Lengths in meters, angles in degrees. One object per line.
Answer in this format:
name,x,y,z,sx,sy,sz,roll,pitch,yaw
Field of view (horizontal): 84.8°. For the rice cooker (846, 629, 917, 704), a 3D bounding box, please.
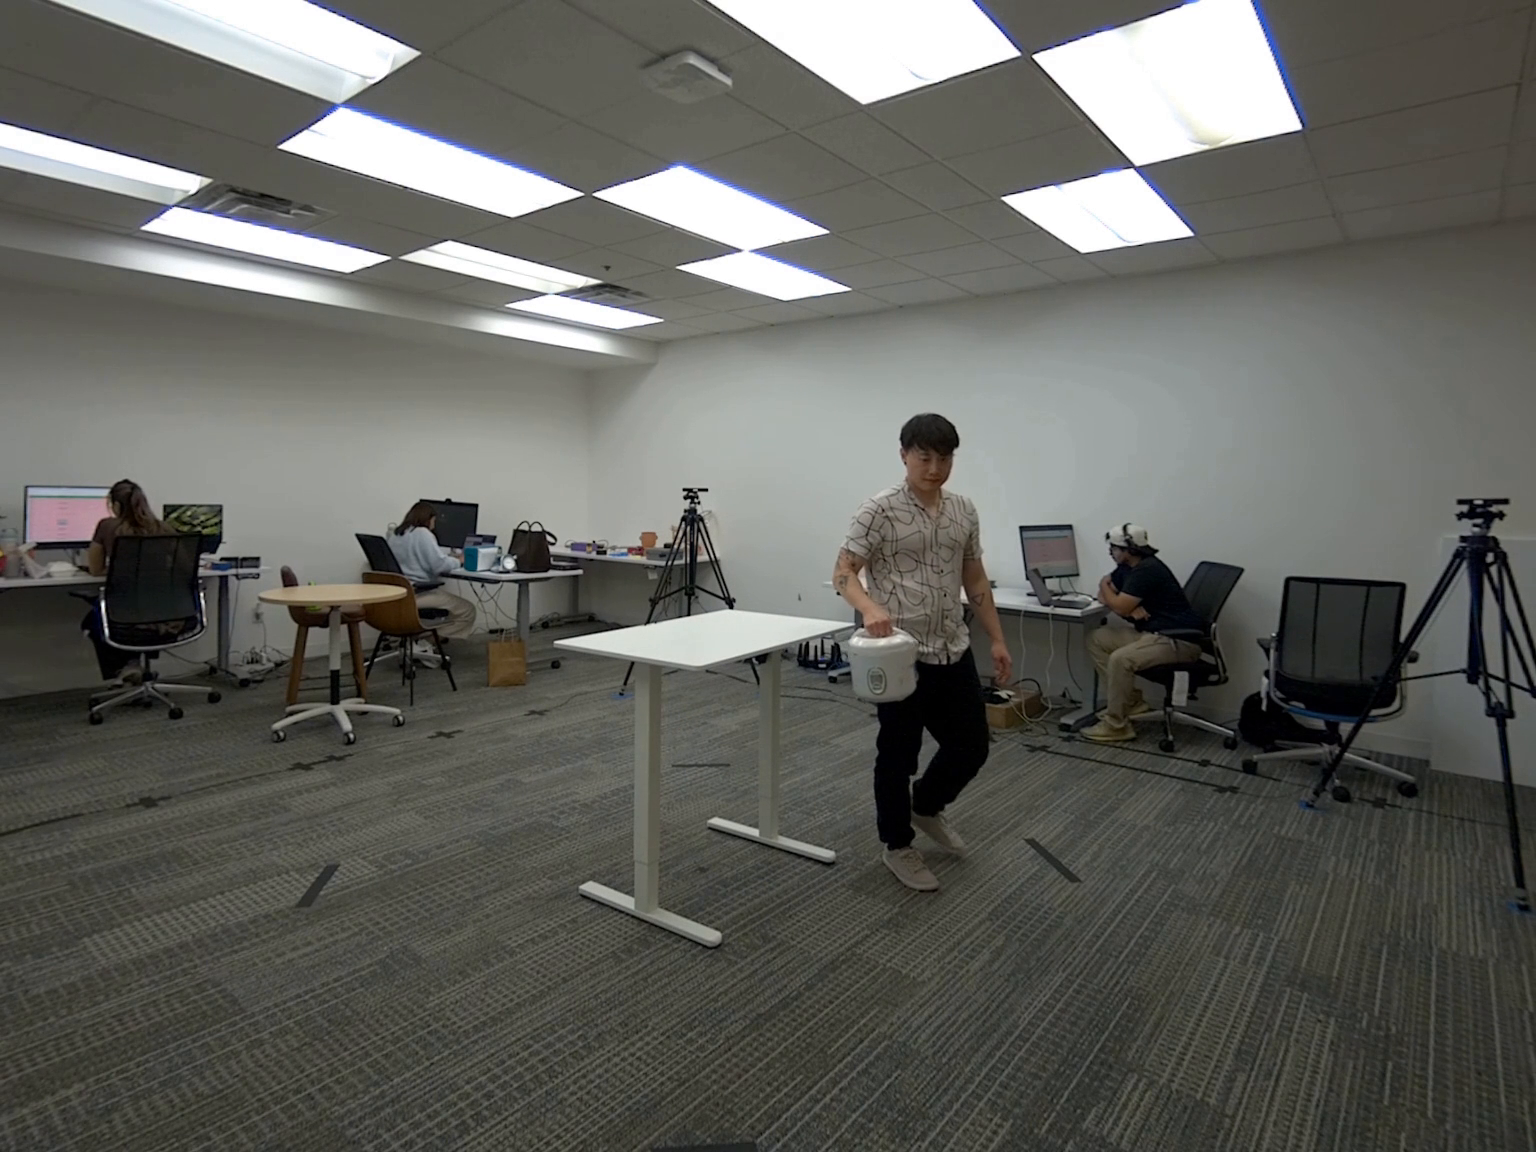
rice cooker,0.373,0.274,2.777,0.225,0.232,0.214,-5,5,21
